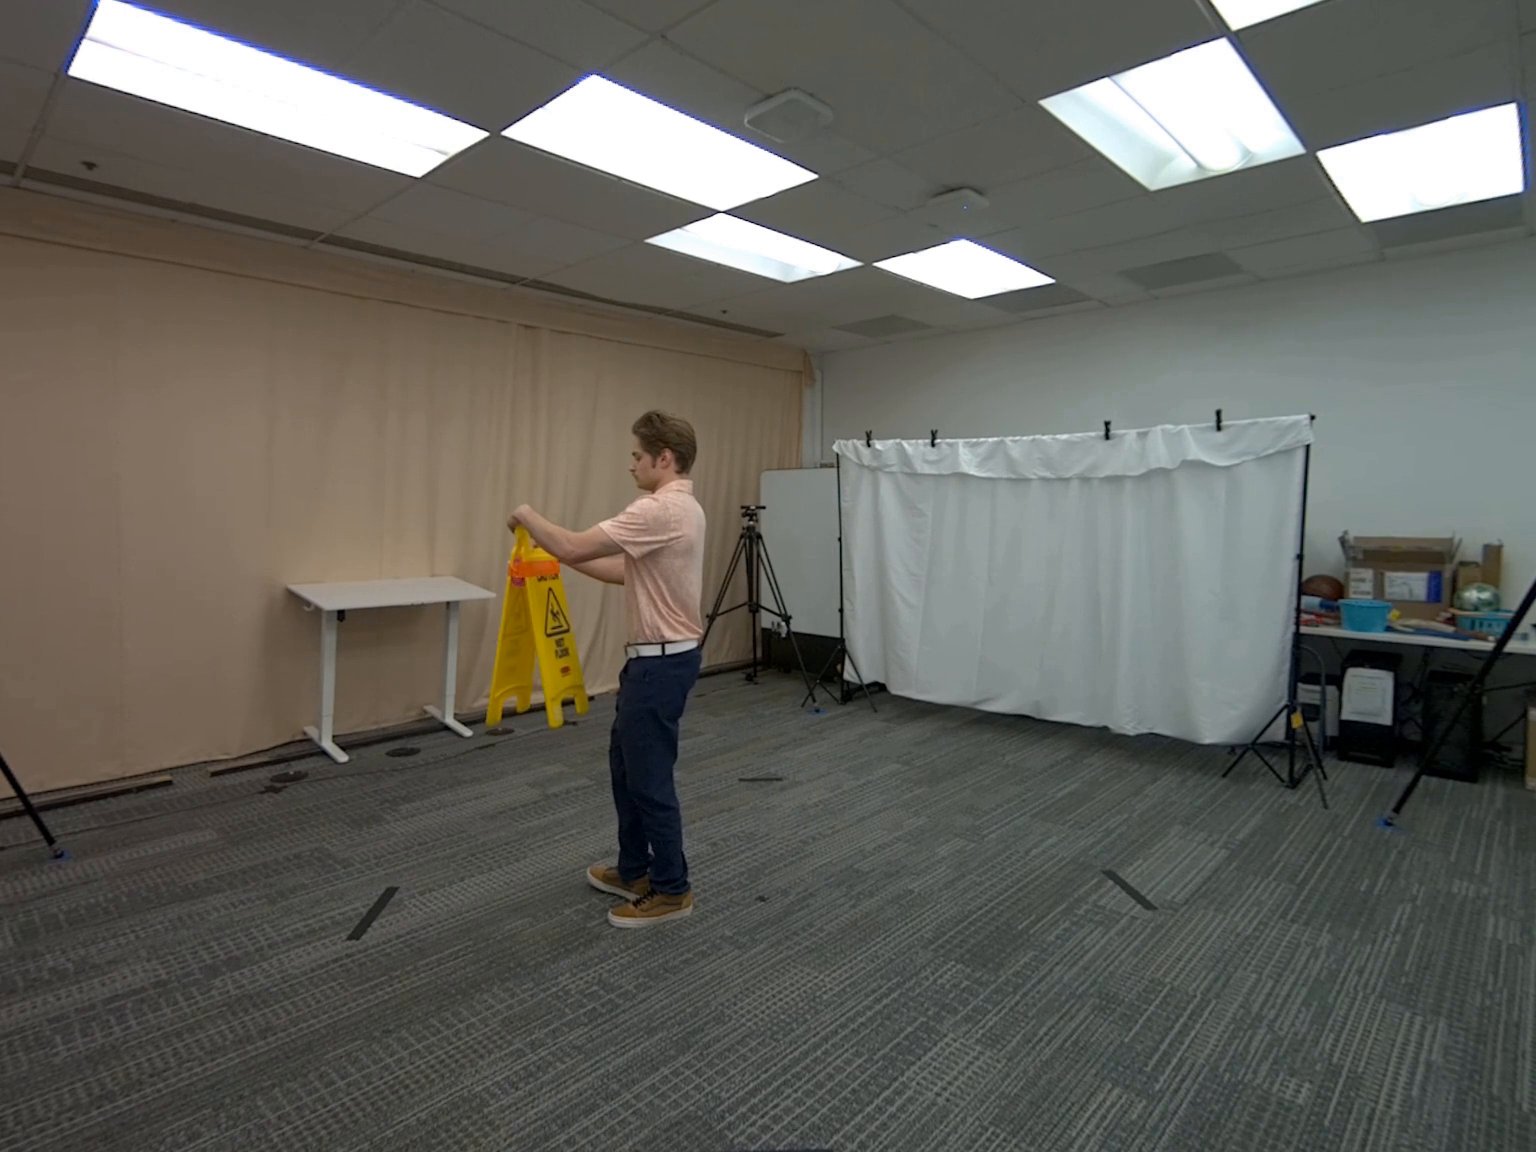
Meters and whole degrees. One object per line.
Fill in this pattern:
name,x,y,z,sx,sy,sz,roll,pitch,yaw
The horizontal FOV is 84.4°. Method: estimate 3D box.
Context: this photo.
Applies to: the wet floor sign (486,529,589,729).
wet floor sign,-0.788,0.163,2.799,0.294,0.645,0.278,-2,2,13
